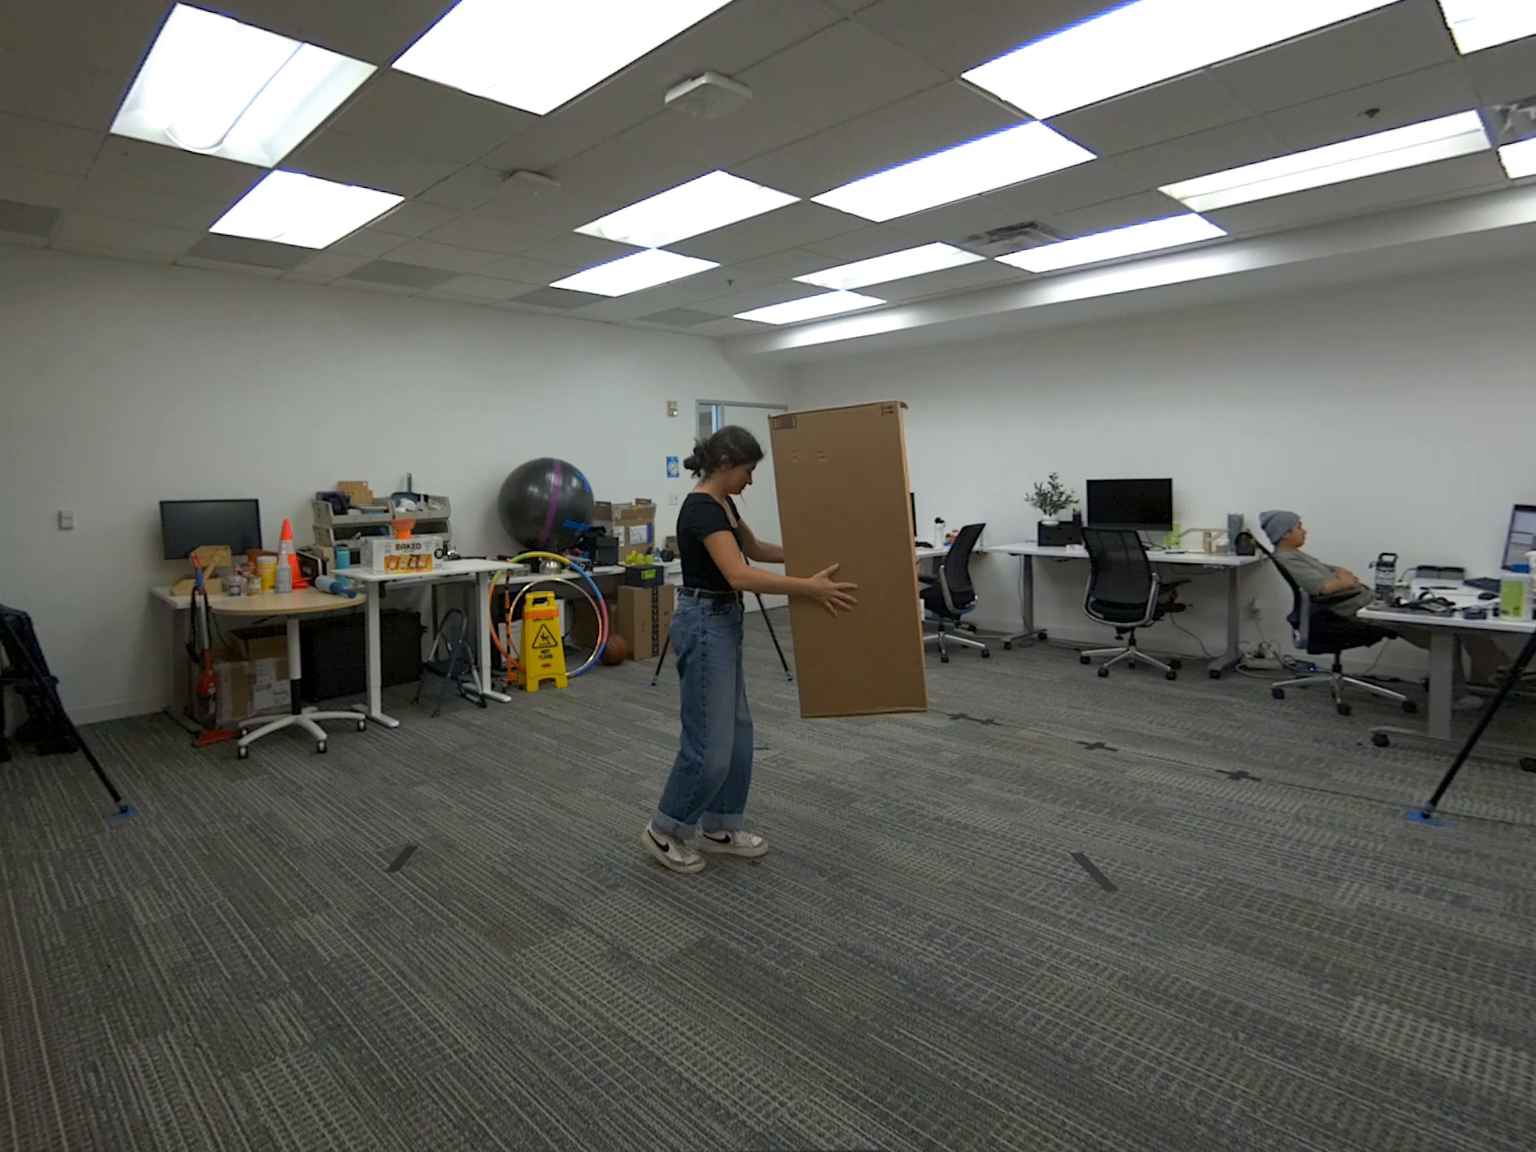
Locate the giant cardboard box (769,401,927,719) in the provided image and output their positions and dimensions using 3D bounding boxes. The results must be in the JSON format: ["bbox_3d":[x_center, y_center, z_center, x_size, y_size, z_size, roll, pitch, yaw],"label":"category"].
[{"bbox_3d":[0.301,-0.084,3.066,0.430,1.019,0.576,-5,6,9],"label":"giant cardboard box"}]
